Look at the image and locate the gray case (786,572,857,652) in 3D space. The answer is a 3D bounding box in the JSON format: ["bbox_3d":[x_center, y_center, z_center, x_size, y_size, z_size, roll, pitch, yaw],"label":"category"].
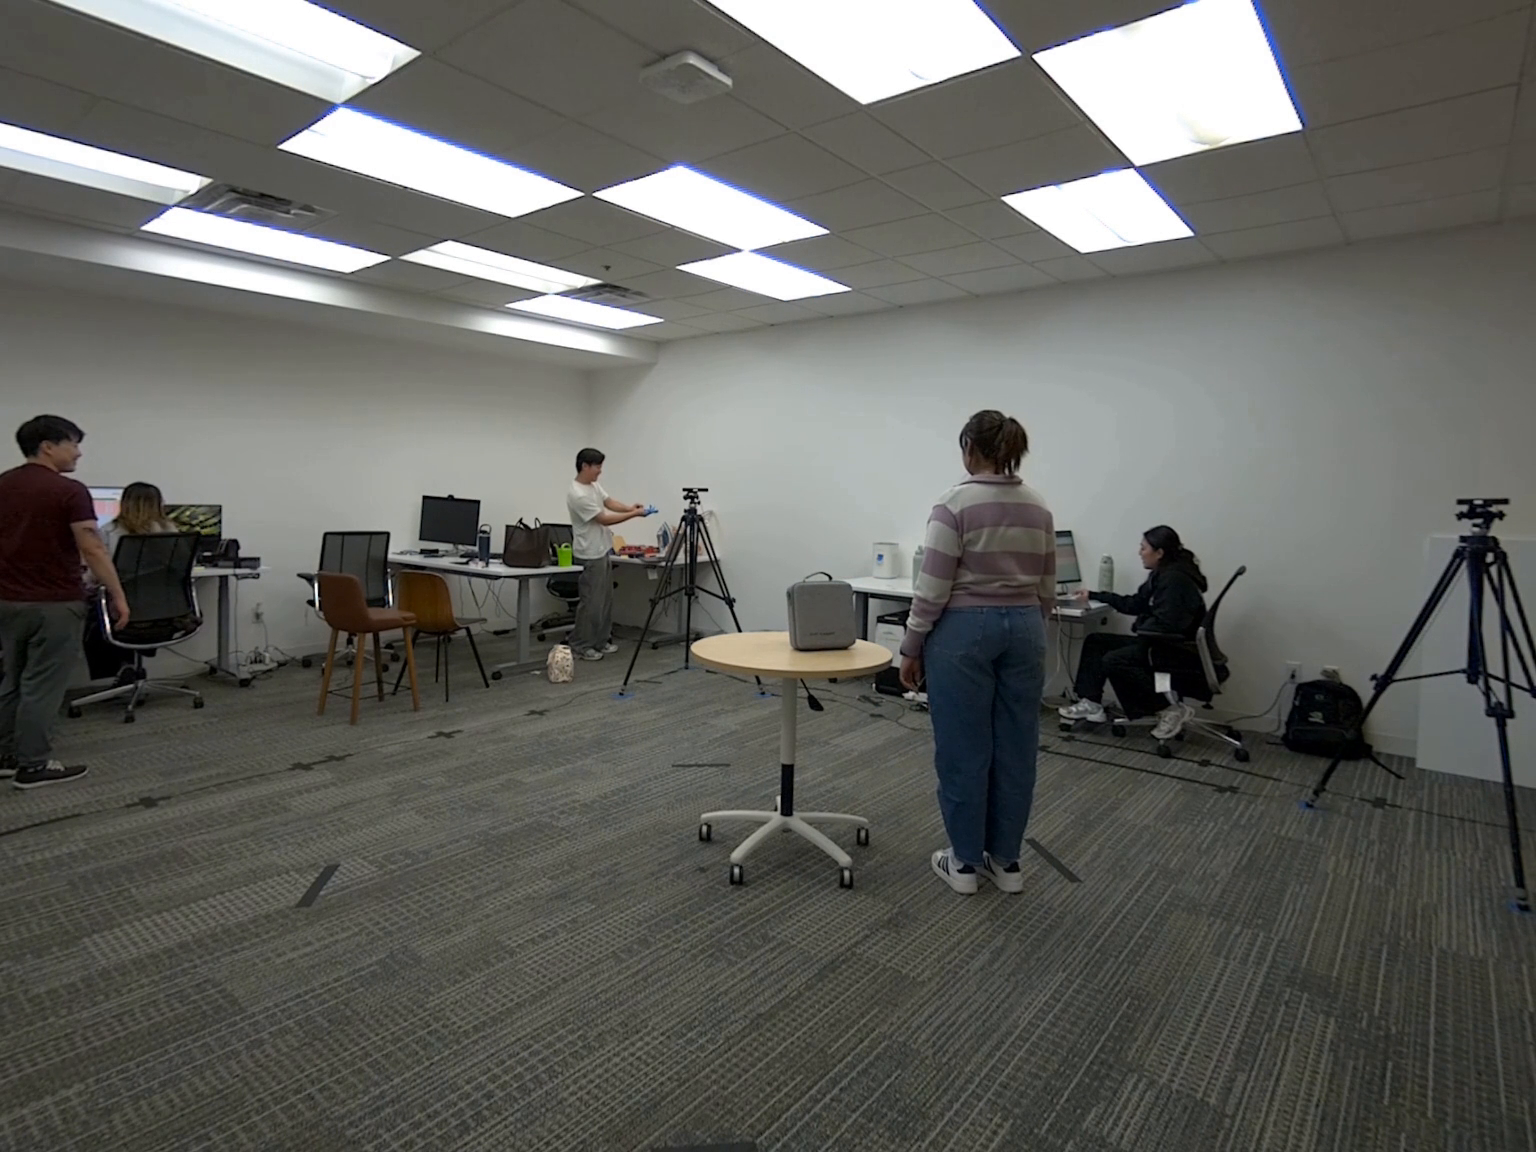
[{"bbox_3d":[0.199,0.149,3.283,0.252,0.262,0.106,0,-6,-20],"label":"gray case"}]
